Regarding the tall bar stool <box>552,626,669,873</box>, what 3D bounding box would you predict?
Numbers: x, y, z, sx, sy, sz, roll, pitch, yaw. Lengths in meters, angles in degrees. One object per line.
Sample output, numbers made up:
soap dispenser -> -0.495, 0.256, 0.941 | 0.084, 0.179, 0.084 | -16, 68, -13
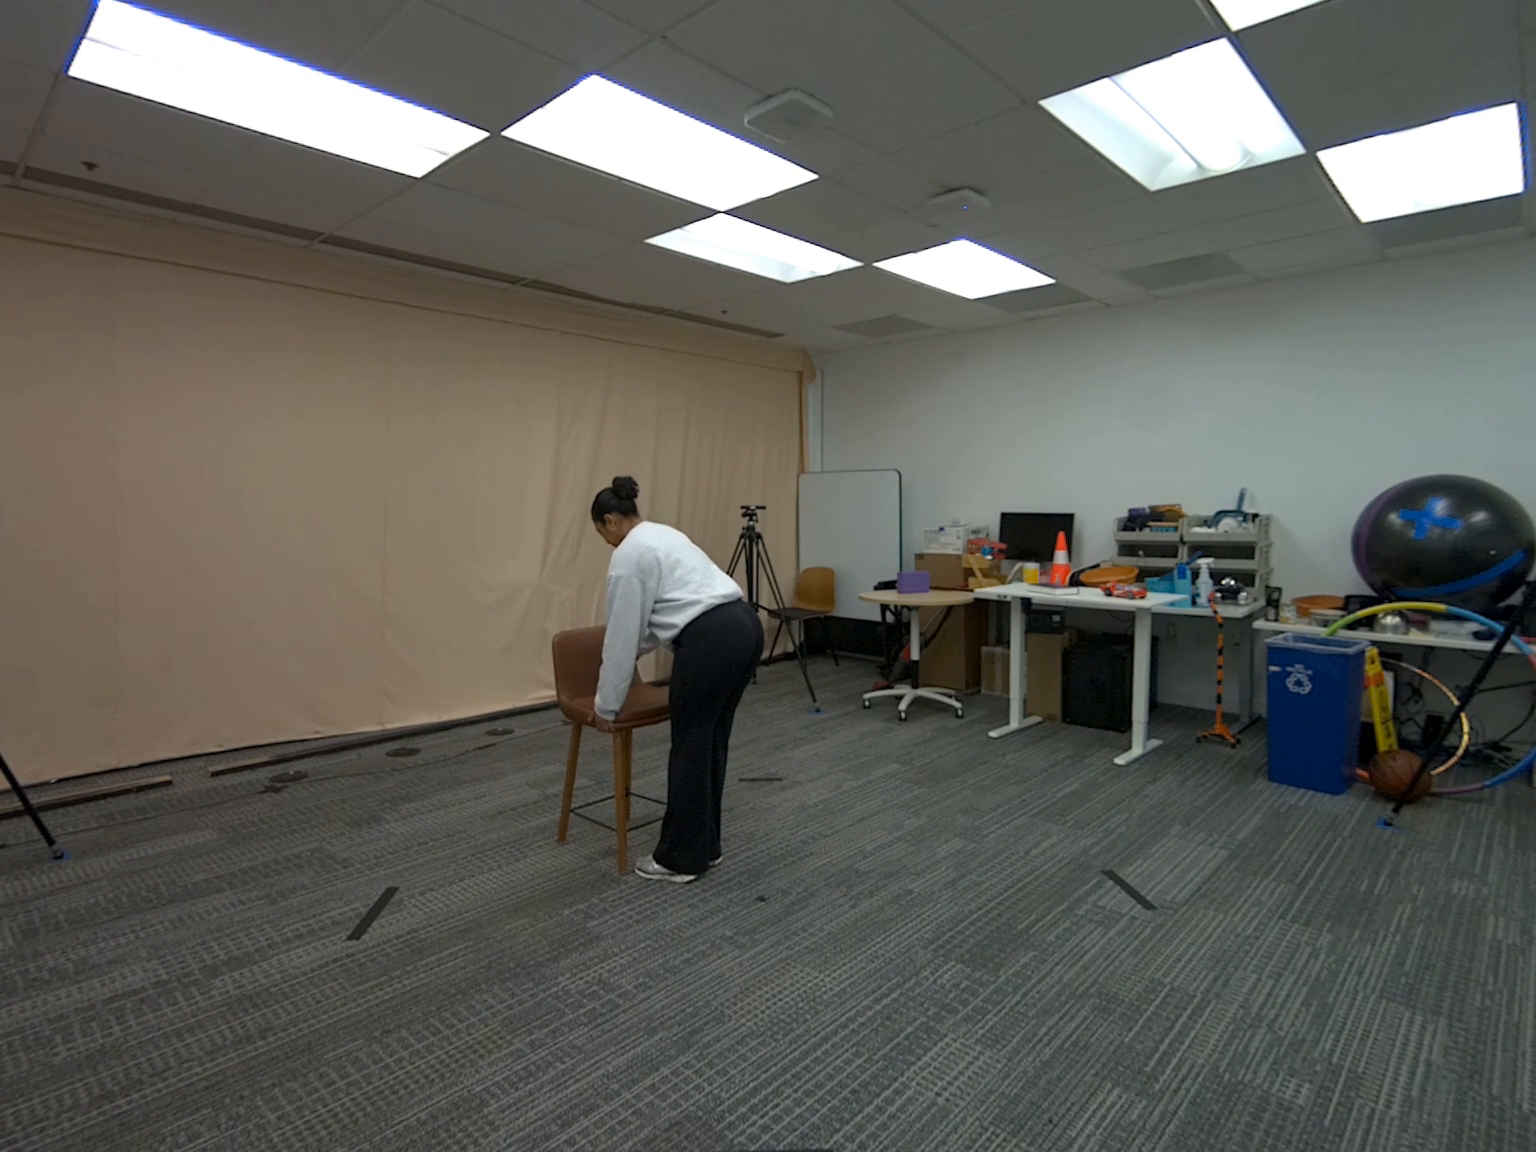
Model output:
tall bar stool -> -0.592, 0.656, 3.445 | 0.483, 0.889, 0.442 | 0, 3, 42
